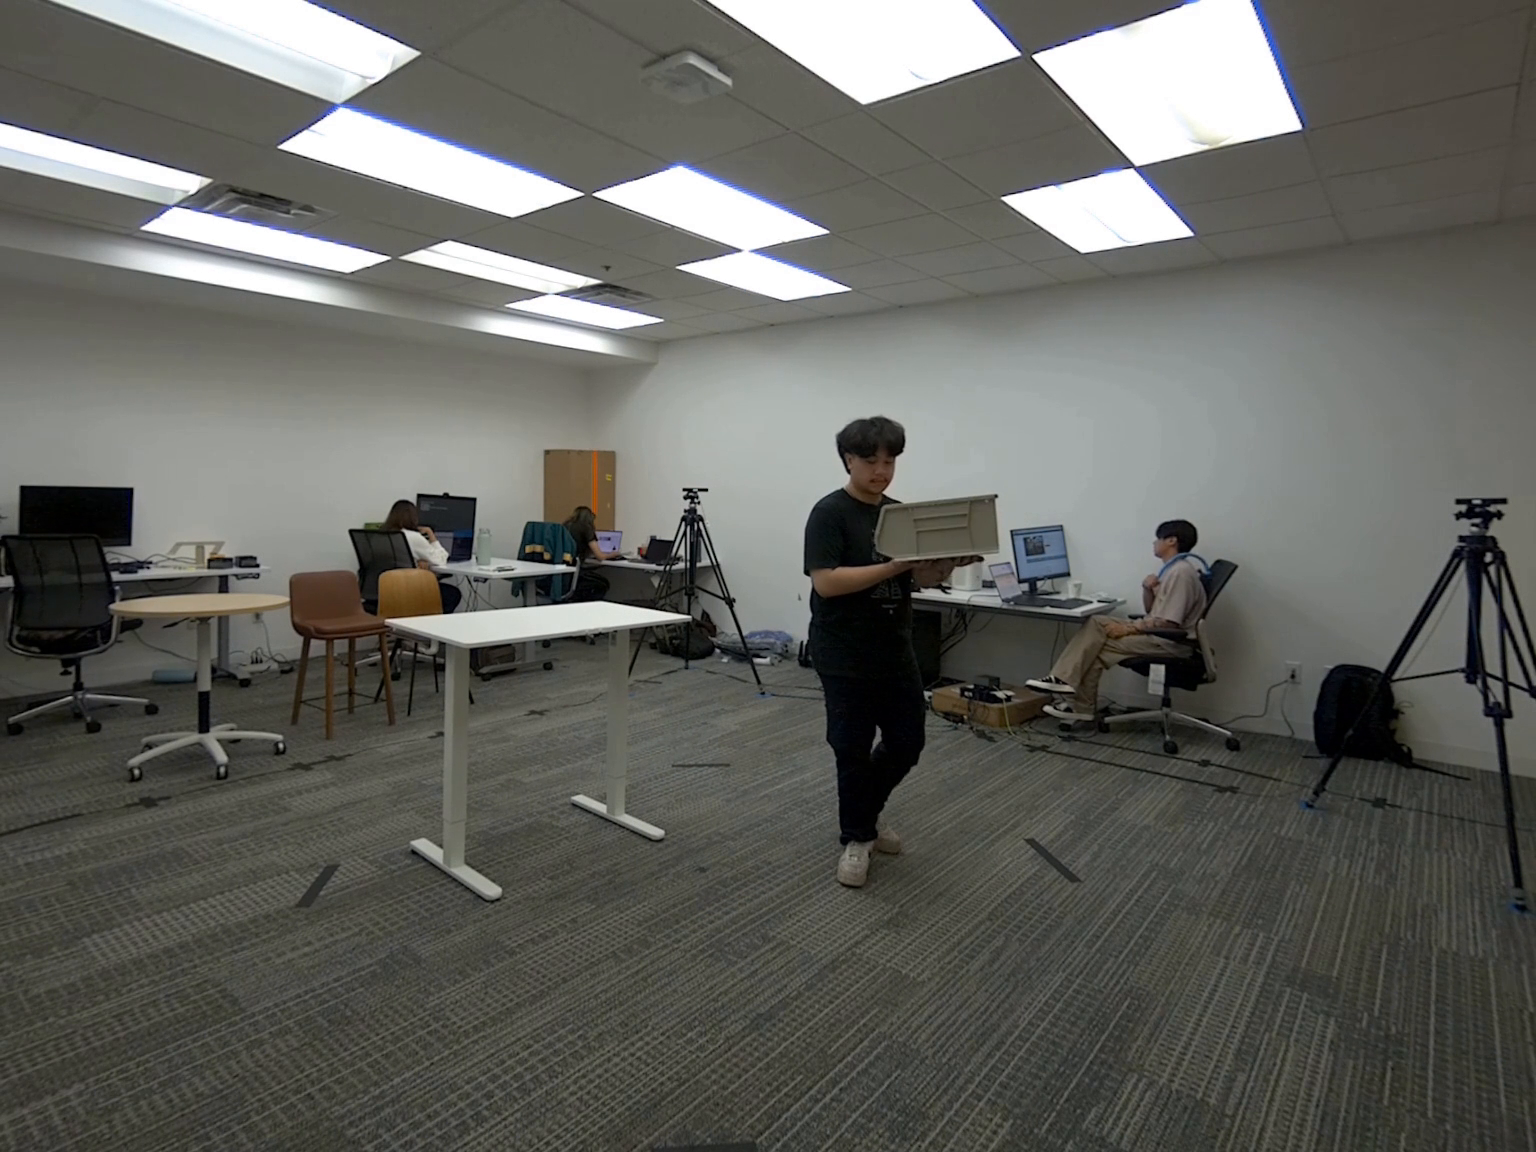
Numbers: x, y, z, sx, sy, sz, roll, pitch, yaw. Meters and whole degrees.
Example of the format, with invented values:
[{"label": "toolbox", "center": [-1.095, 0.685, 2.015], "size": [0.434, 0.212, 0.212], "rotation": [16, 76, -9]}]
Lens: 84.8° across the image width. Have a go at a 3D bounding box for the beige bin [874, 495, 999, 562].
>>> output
[{"label": "beige bin", "center": [0.558, -0.158, 2.807], "size": [0.382, 0.189, 0.417], "rotation": [-5, 2, 11]}]
